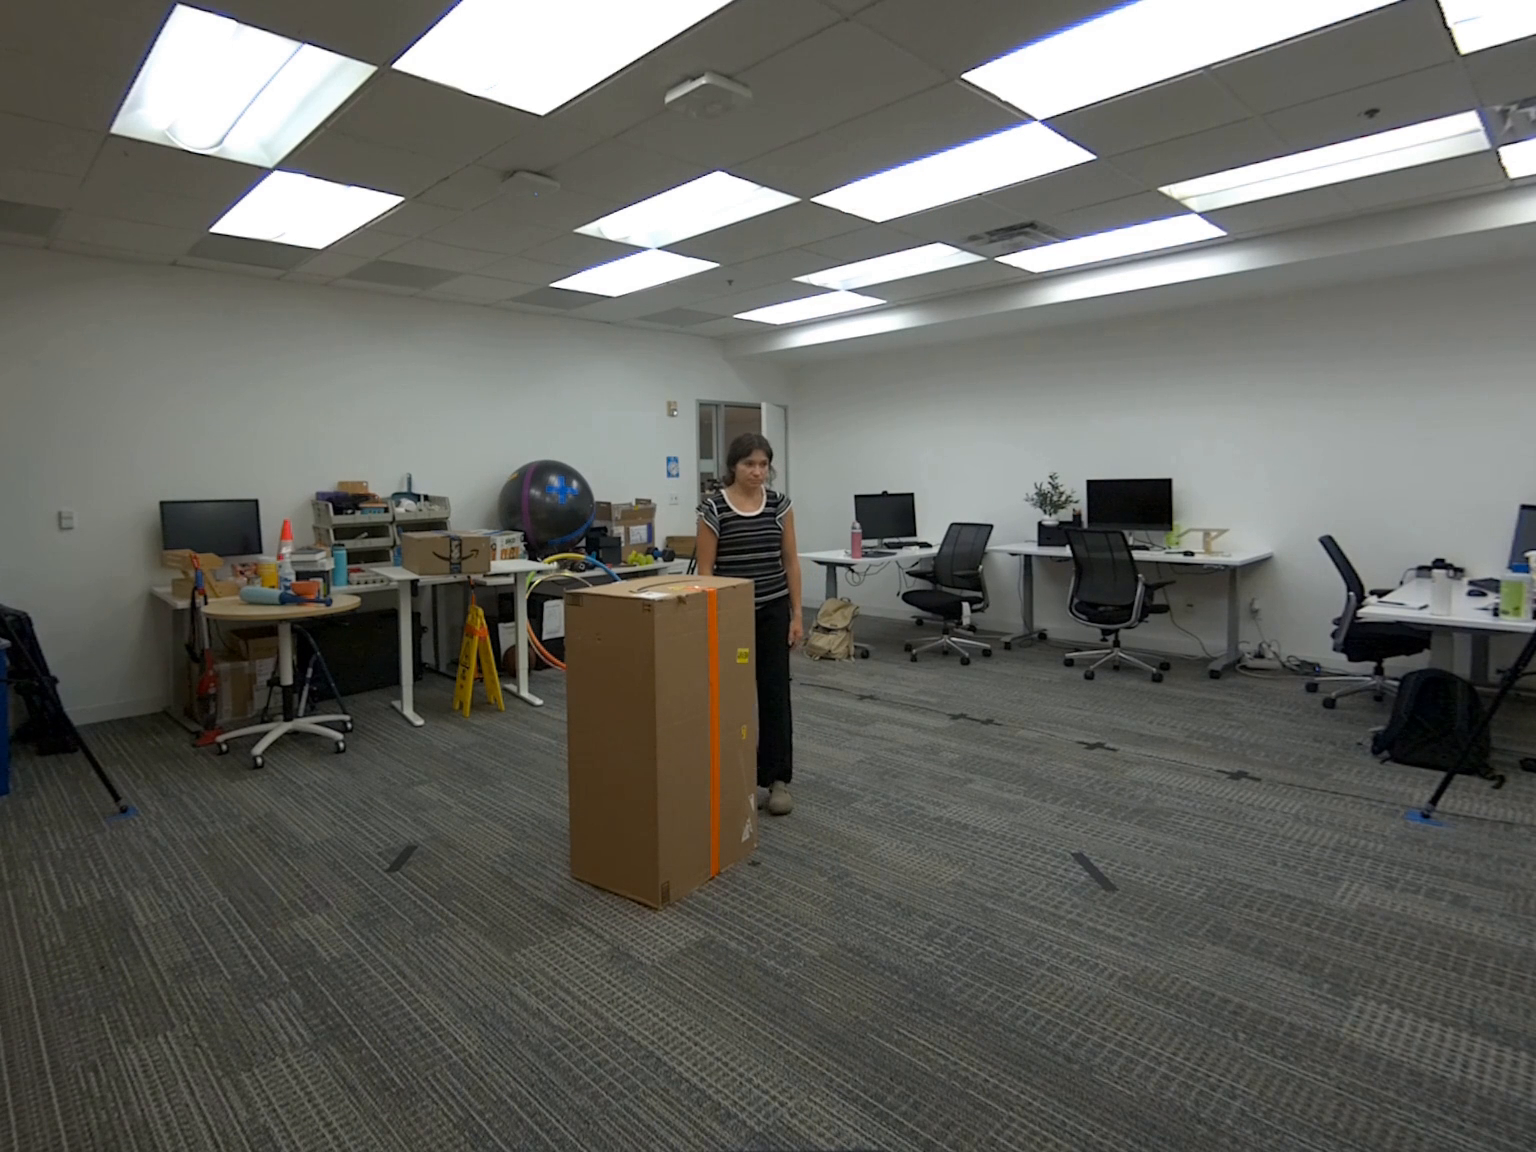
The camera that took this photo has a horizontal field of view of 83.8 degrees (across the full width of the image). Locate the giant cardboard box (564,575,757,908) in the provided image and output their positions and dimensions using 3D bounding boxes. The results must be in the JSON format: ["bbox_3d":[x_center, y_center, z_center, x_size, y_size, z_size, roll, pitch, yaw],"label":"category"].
[{"bbox_3d":[-0.376,0.544,3.096,0.438,1.022,0.563,2,5,34],"label":"giant cardboard box"}]
